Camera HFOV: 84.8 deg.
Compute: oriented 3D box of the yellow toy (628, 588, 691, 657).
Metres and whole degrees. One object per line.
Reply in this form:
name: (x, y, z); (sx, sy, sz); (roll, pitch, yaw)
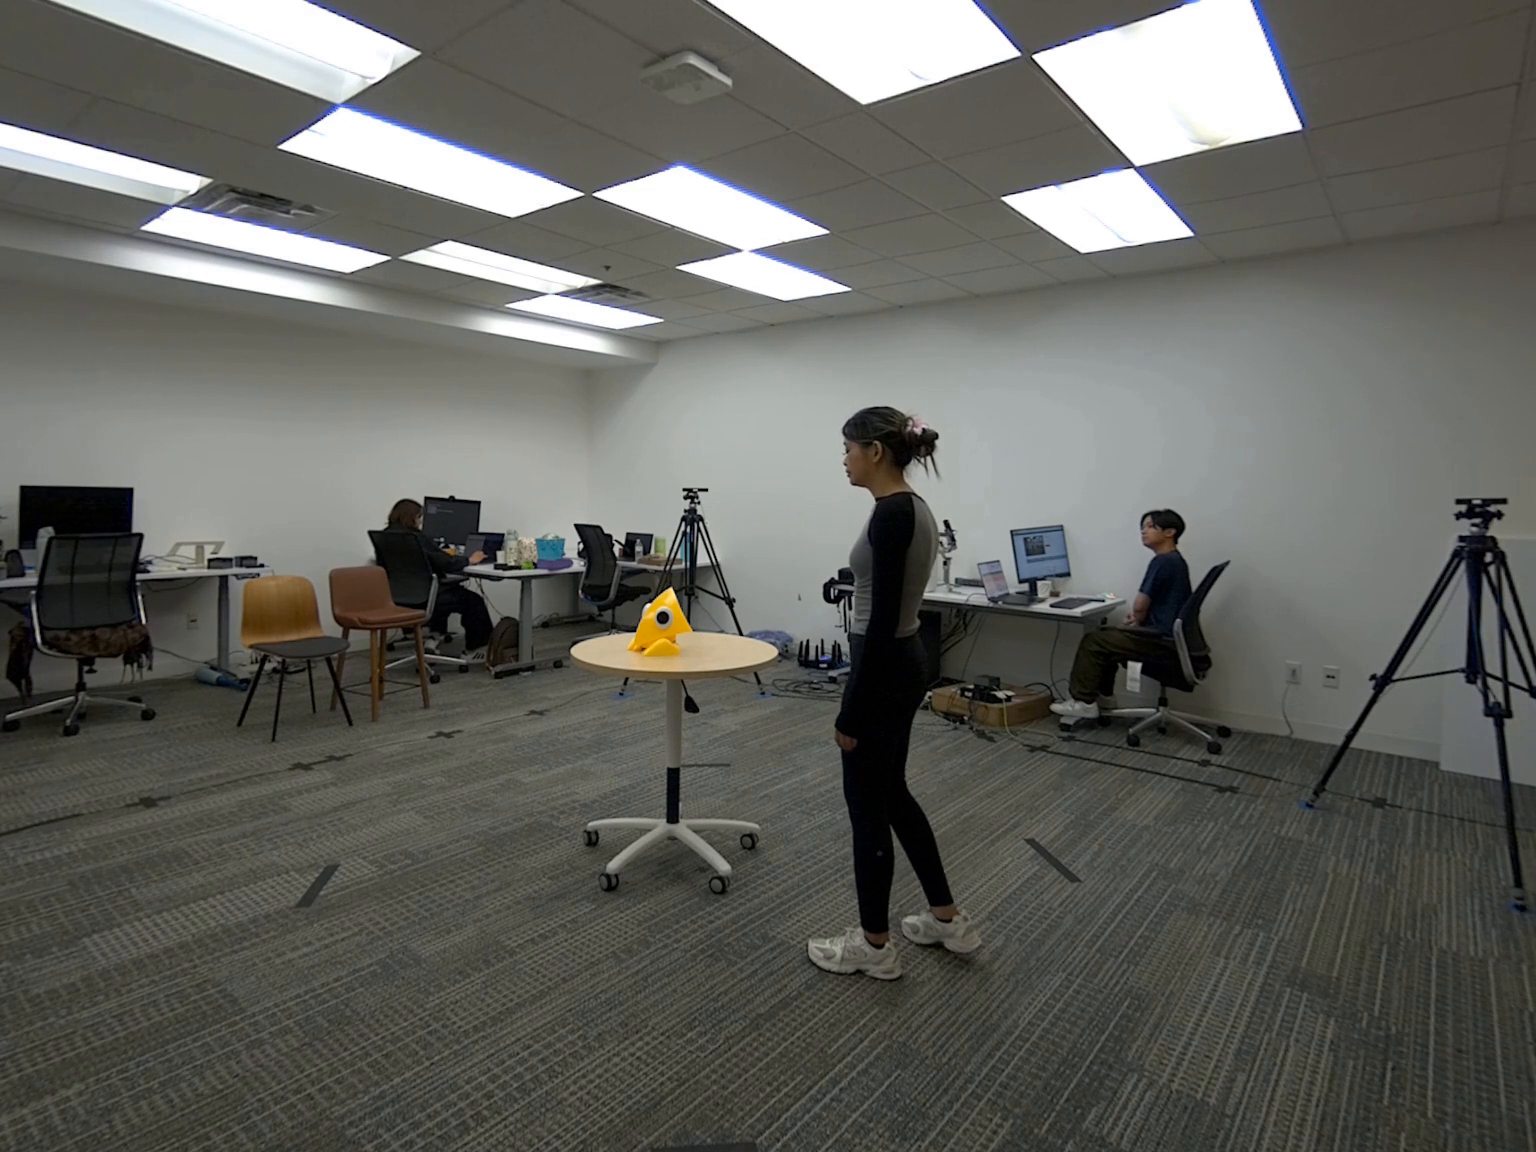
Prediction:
yellow toy: (-0.419, 0.159, 3.121); (0.187, 0.230, 0.211); (-4, 6, -36)
